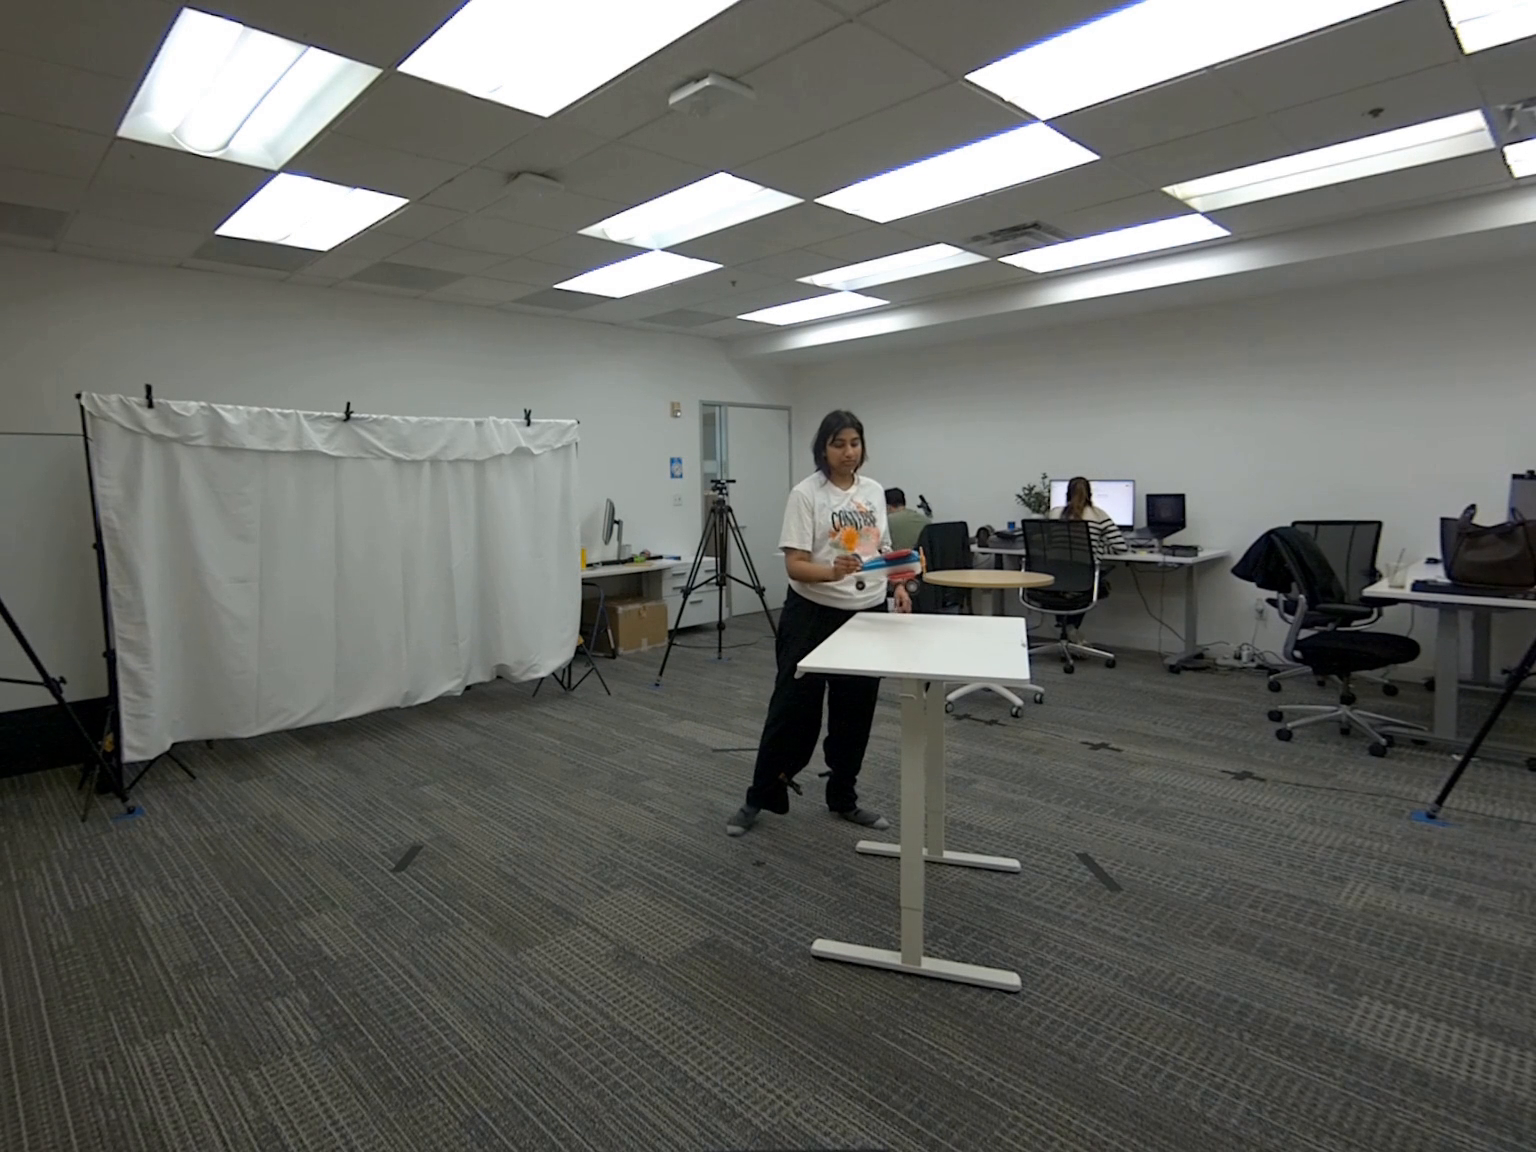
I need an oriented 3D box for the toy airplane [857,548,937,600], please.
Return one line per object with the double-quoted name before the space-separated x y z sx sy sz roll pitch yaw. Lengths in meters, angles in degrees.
"toy airplane" 0.396 -0.019 2.962 0.255 0.156 0.256 4 2 -18
